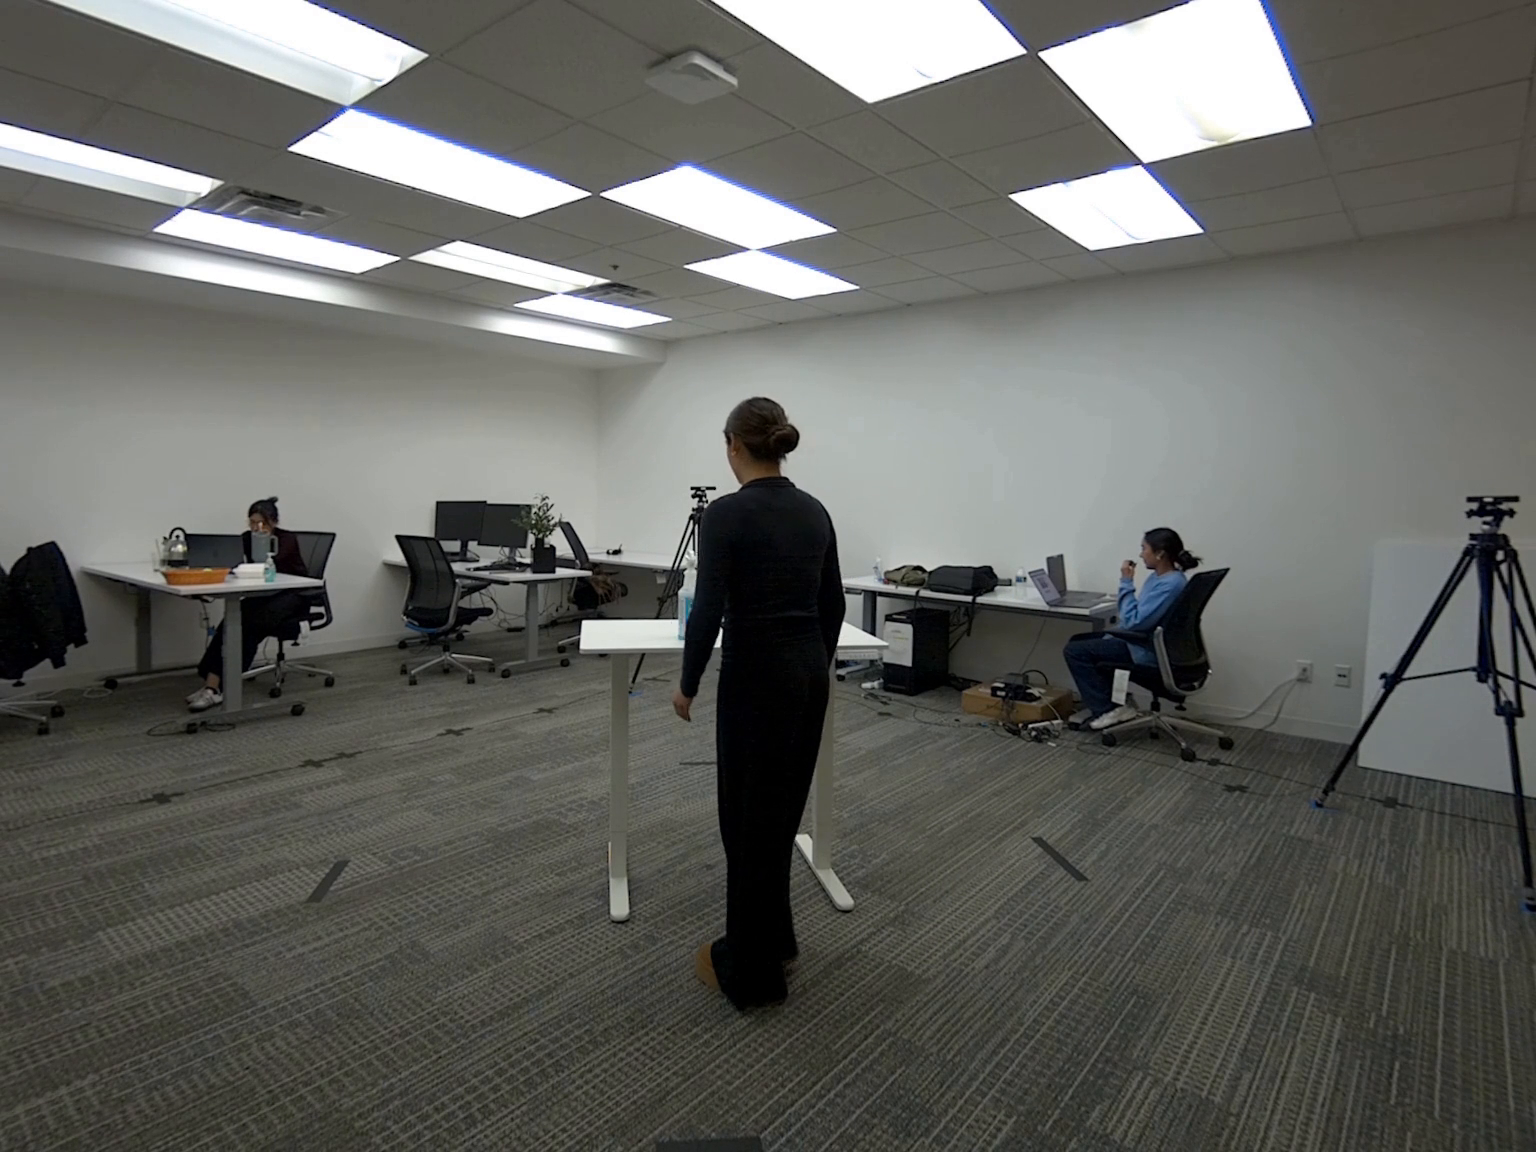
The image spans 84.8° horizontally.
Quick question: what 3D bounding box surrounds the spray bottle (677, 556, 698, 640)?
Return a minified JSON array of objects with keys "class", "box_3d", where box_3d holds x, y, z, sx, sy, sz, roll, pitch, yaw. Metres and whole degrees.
[{"class":"spray bottle","box_3d":[-0.267,0.063,2.845,0.088,0.297,0.089,-1,1,12]}]
